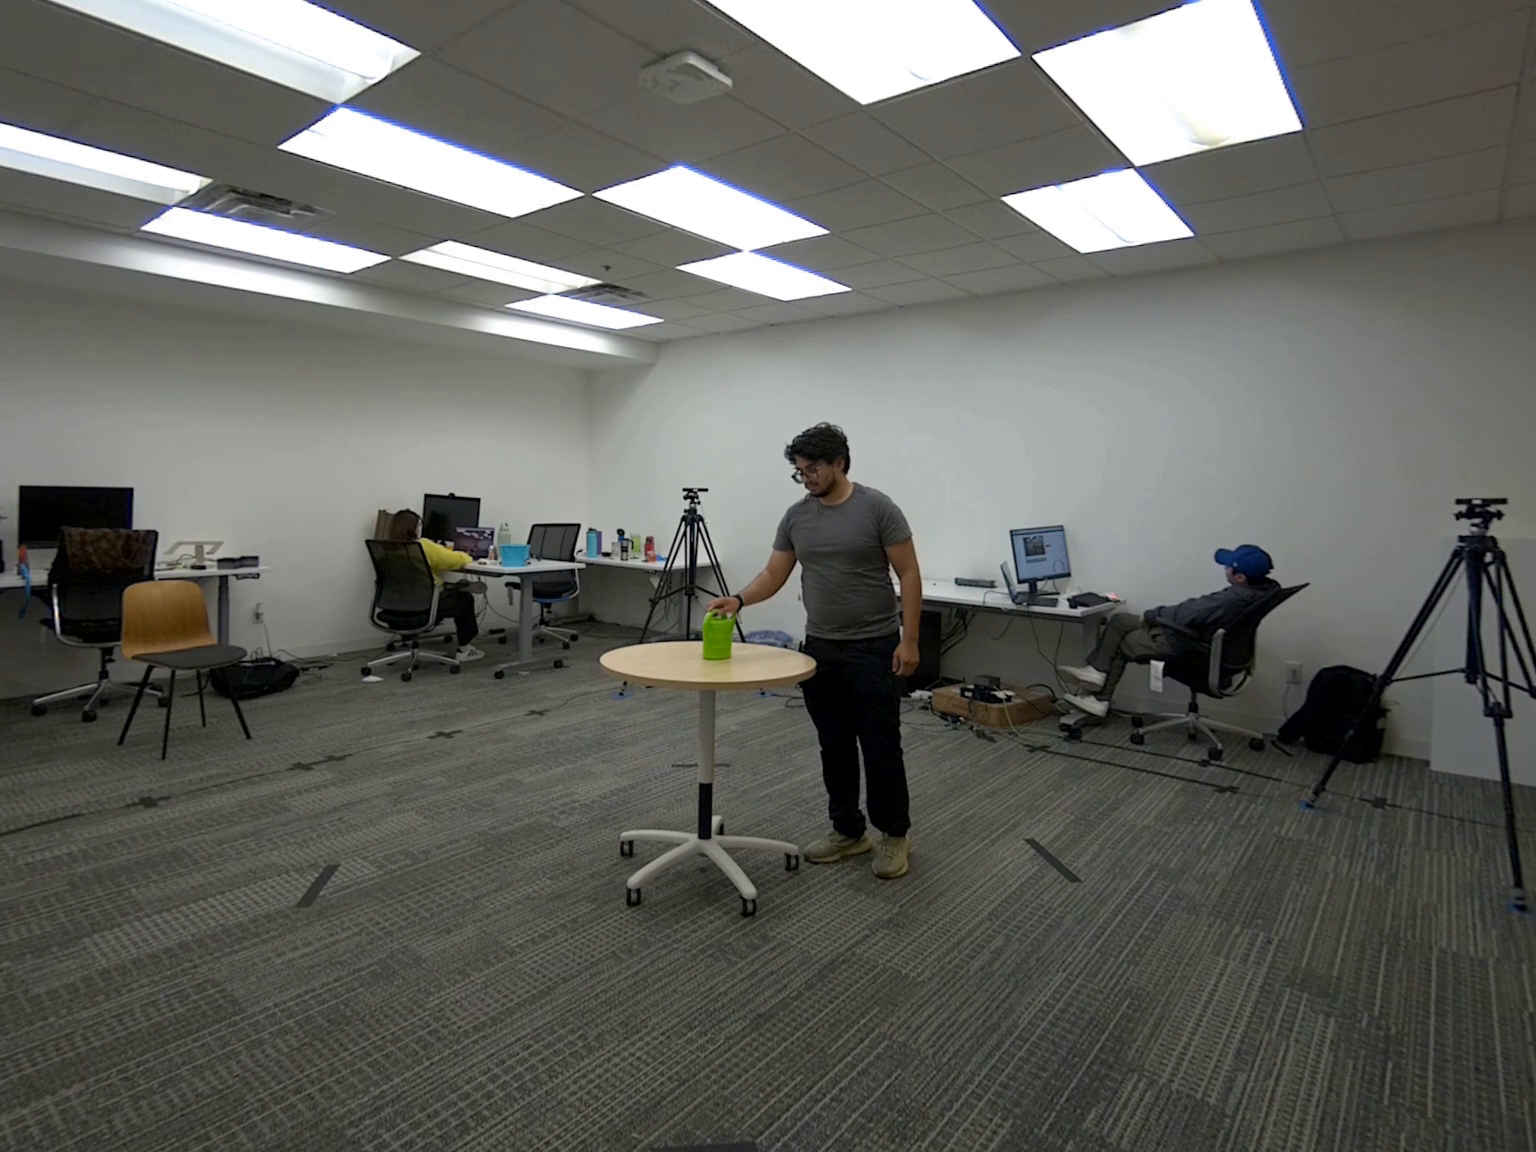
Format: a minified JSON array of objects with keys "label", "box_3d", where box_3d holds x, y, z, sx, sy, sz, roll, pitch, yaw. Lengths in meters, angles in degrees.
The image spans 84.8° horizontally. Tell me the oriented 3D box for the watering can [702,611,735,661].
[{"label":"watering can","box_3d":[-0.166,0.201,3.109,0.101,0.176,0.270,4,5,41]}]
